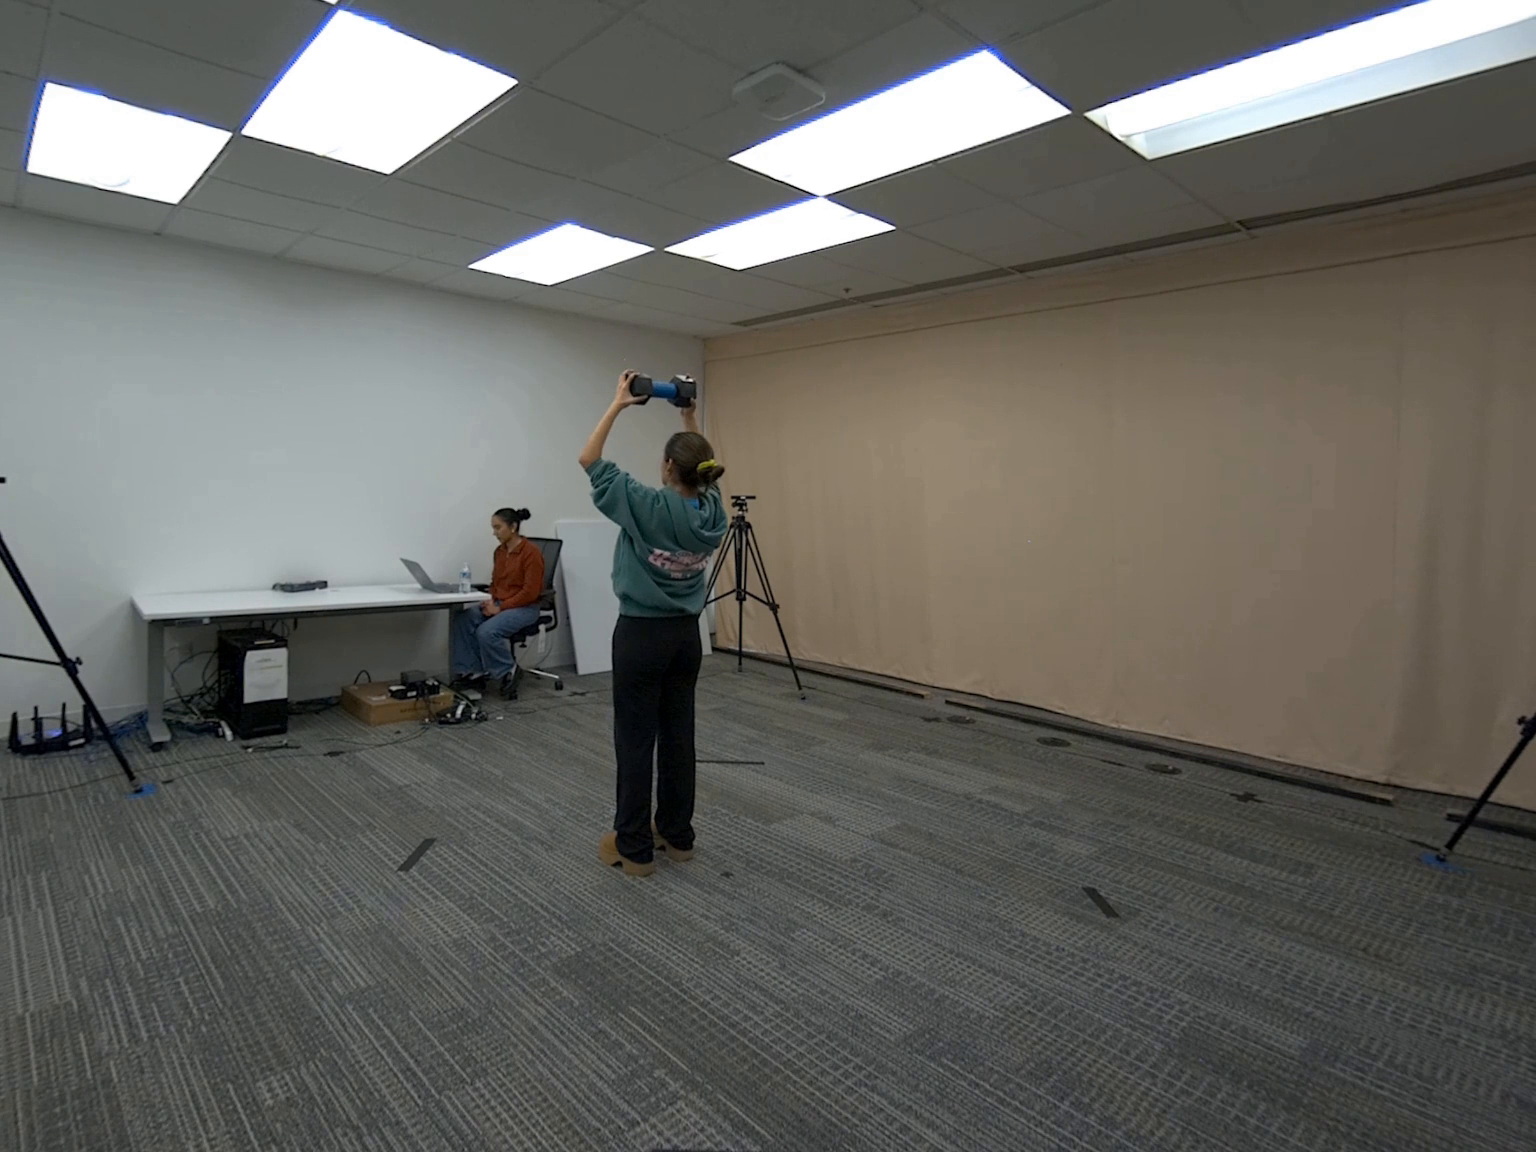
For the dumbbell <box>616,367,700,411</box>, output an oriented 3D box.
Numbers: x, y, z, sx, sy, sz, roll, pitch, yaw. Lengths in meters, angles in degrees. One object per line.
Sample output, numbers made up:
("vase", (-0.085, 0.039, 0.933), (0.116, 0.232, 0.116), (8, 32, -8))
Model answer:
("dumbbell", (-0.410, -0.698, 3.159), (0.287, 0.123, 0.111), (-6, 3, -44))
